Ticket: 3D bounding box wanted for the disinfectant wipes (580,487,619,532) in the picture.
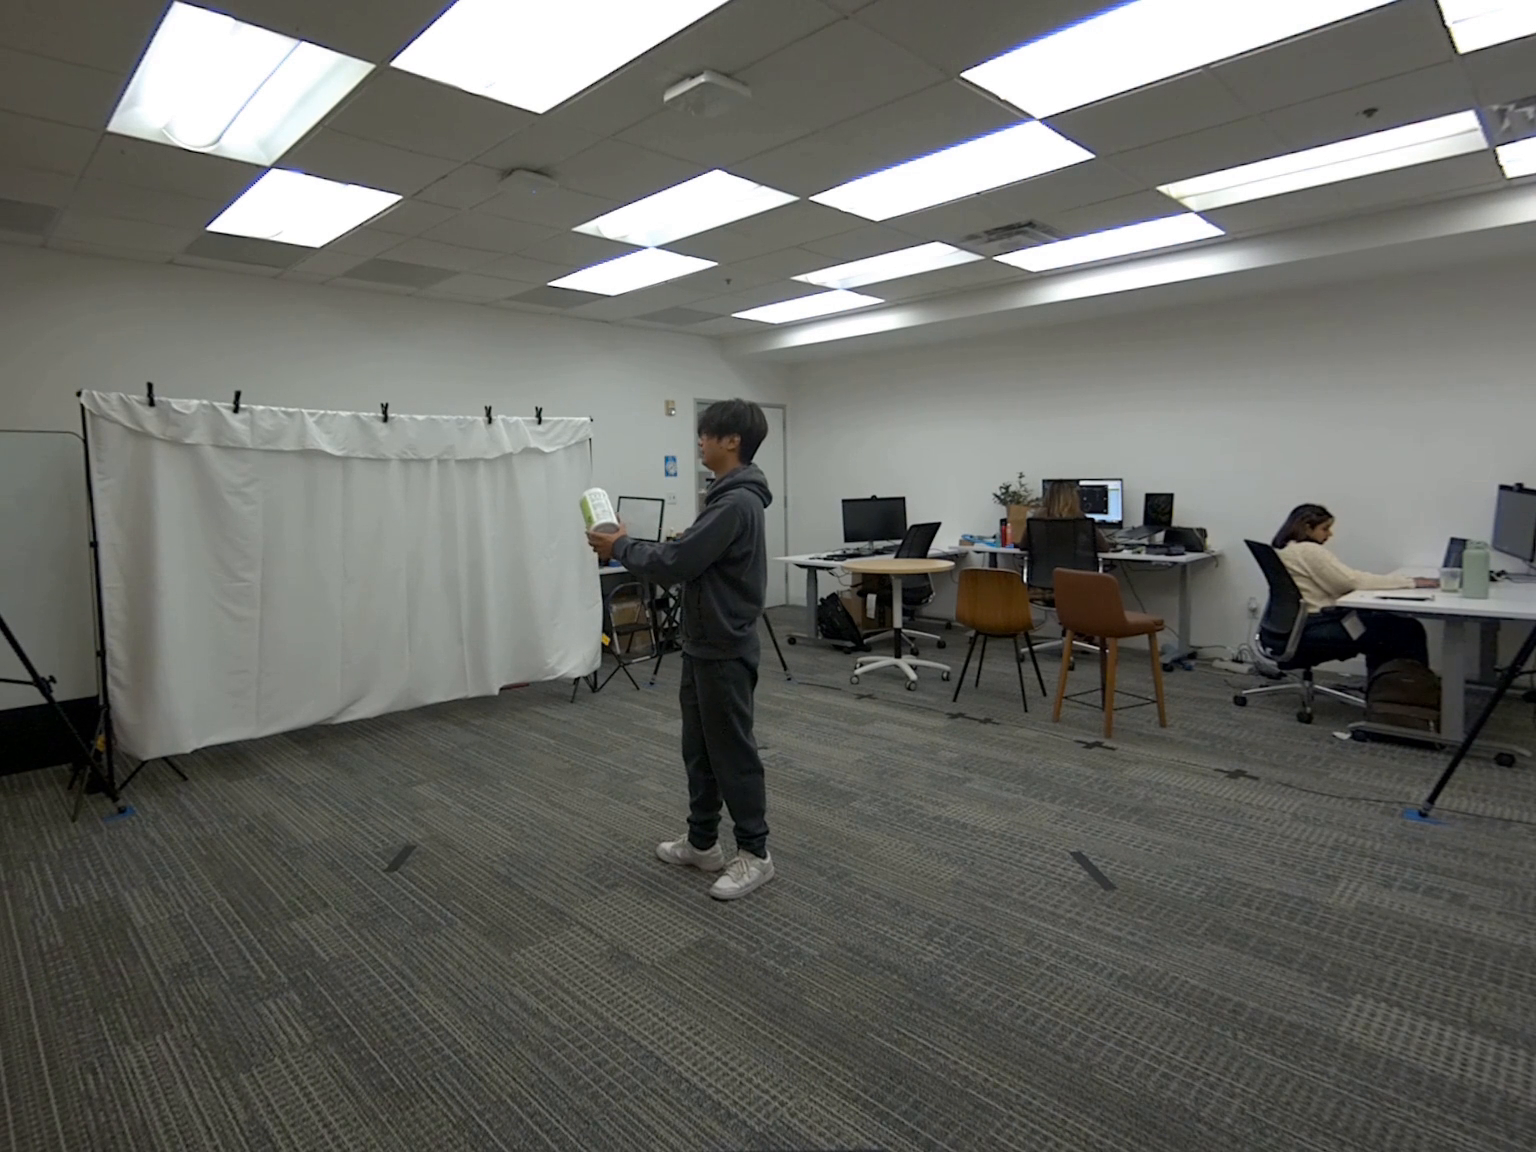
[{"bbox_3d":[-0.591,-0.213,3.019,0.115,0.116,0.226,-3,40,-24],"label":"disinfectant wipes"}]
